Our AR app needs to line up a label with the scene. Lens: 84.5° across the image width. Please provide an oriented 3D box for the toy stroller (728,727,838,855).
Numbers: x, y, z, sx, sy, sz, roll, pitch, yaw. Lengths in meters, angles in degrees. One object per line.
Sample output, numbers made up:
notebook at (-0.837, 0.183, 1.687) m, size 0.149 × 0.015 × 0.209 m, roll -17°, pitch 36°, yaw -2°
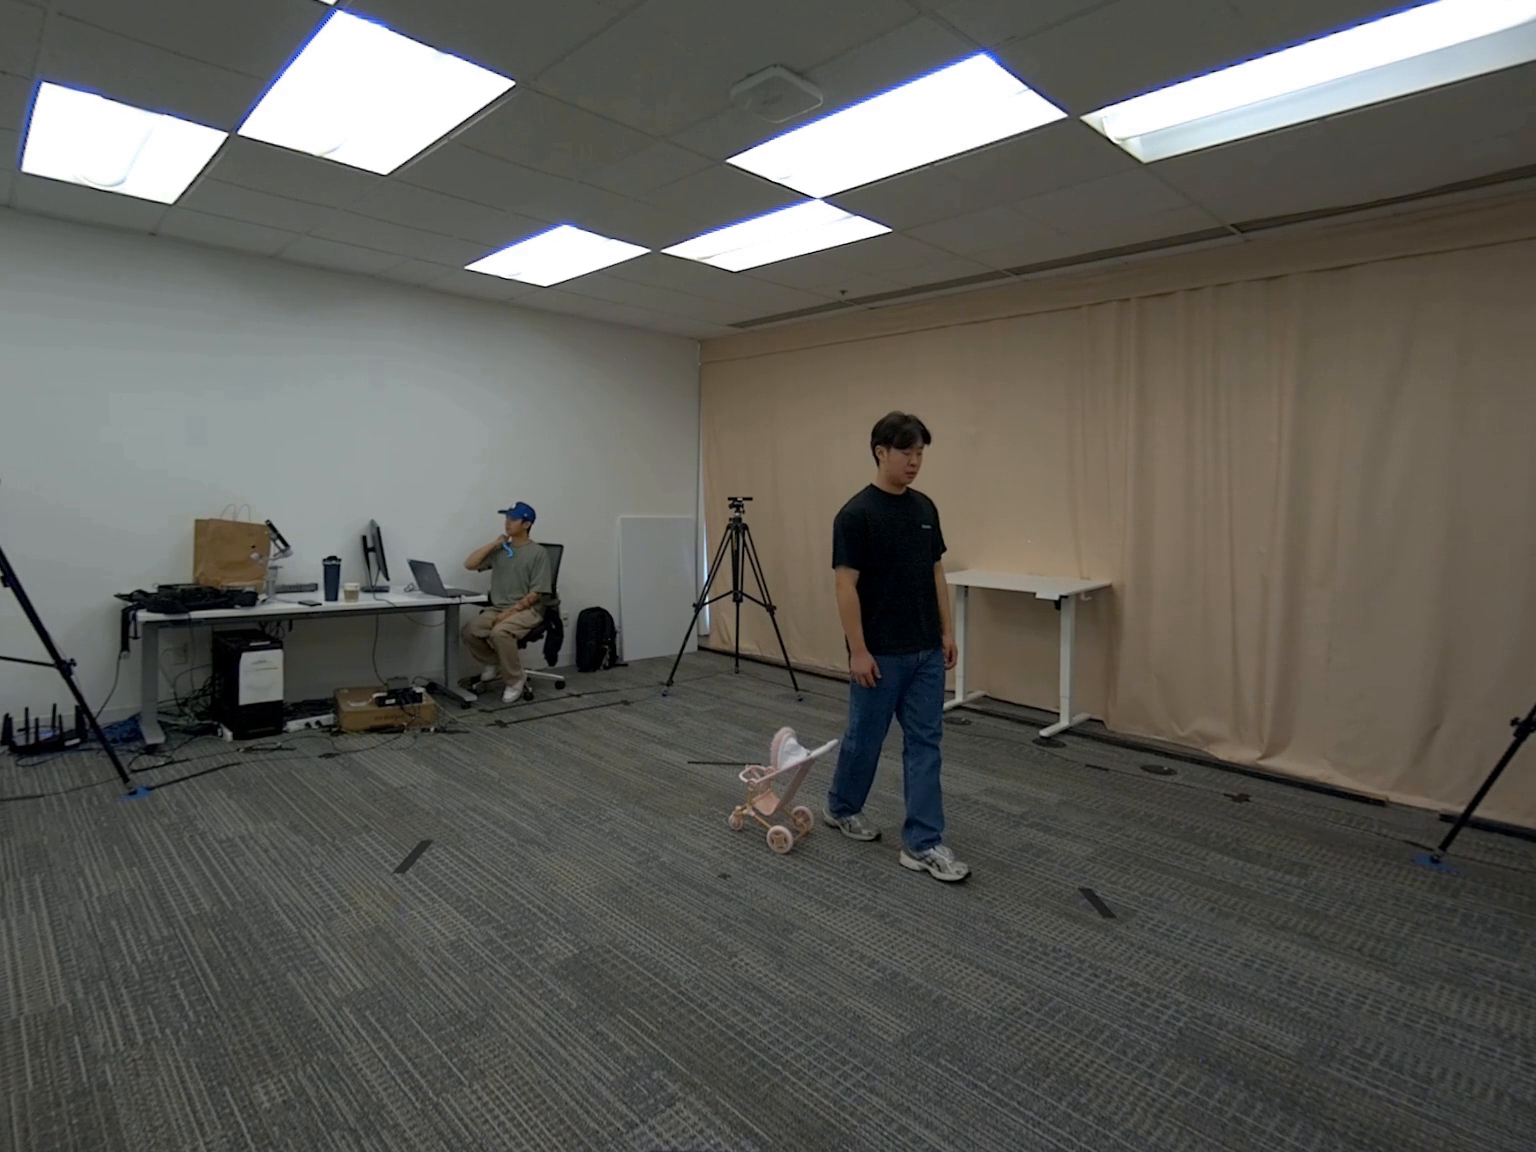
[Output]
toy stroller at (0.039, 0.855, 3.451) m, size 0.350 × 0.532 × 0.276 m, roll 22°, pitch 12°, yaw 28°
